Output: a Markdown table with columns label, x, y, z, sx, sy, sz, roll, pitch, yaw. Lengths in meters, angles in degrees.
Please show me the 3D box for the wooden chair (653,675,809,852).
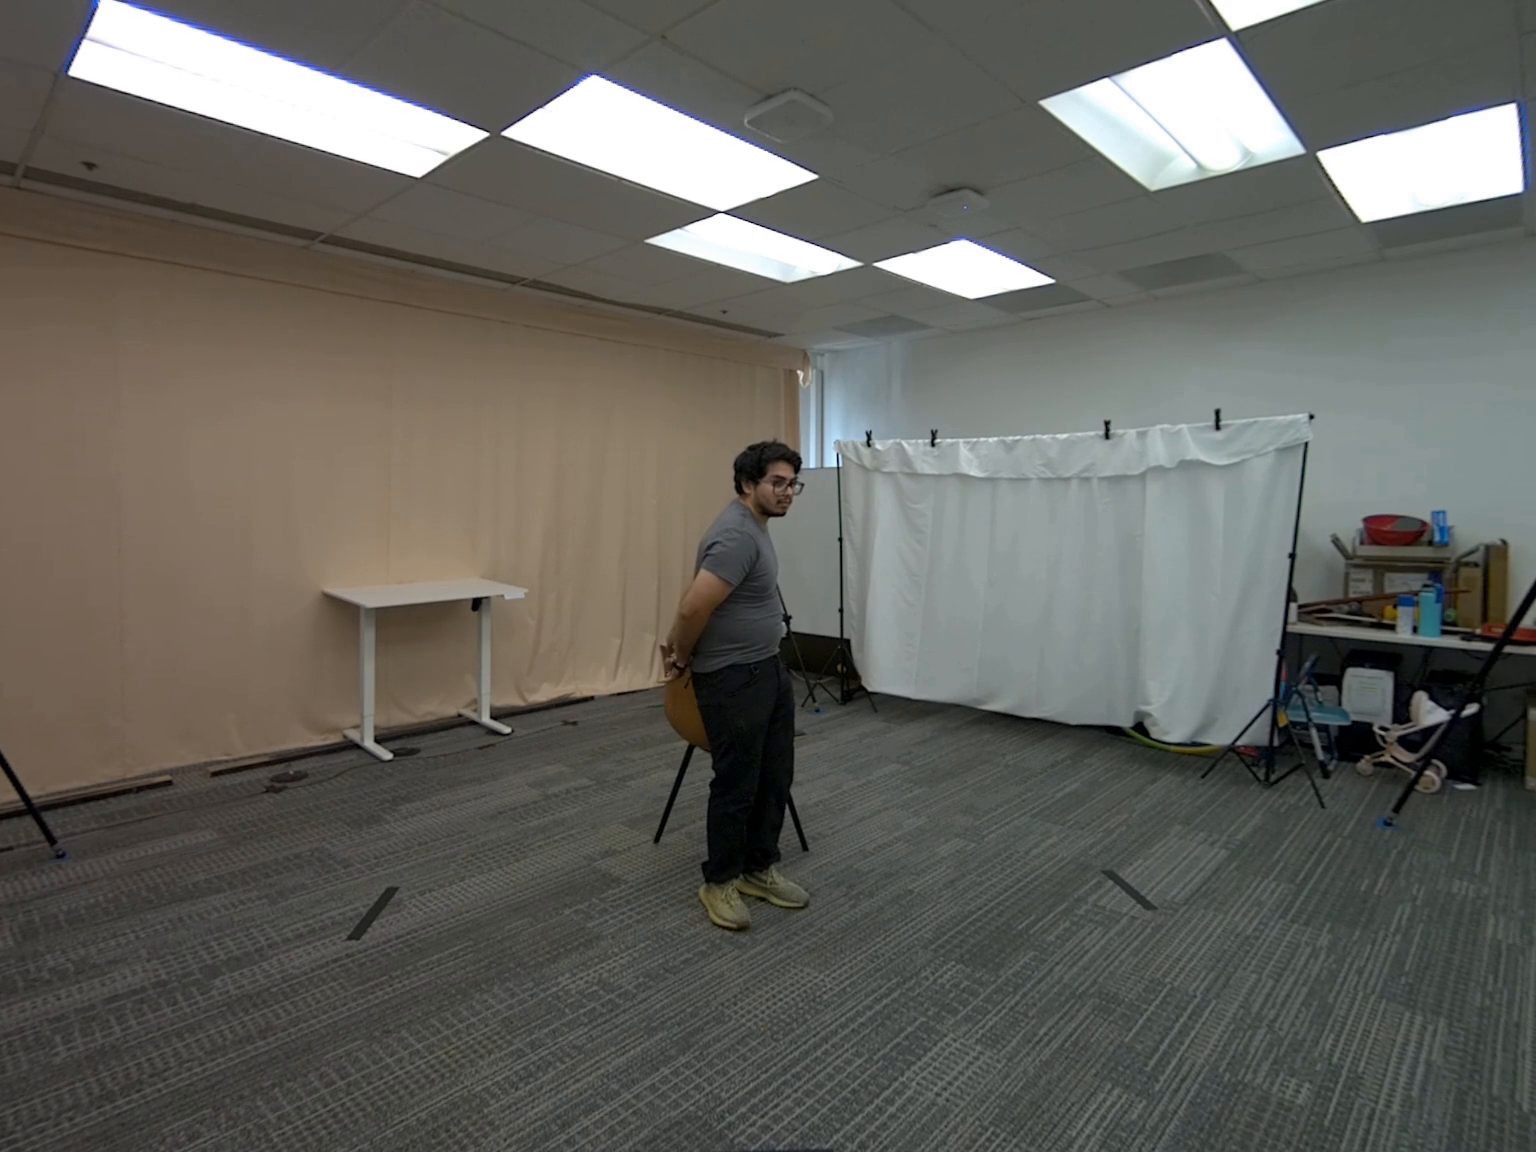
| label | x | y | z | sx | sy | sz | roll | pitch | yaw |
| --- | --- | --- | --- | --- | --- | --- | --- | --- | --- |
| wooden chair | -0.141 | 0.679 | 3.405 | 0.508 | 0.874 | 0.494 | -7 | 6 | -40 |
